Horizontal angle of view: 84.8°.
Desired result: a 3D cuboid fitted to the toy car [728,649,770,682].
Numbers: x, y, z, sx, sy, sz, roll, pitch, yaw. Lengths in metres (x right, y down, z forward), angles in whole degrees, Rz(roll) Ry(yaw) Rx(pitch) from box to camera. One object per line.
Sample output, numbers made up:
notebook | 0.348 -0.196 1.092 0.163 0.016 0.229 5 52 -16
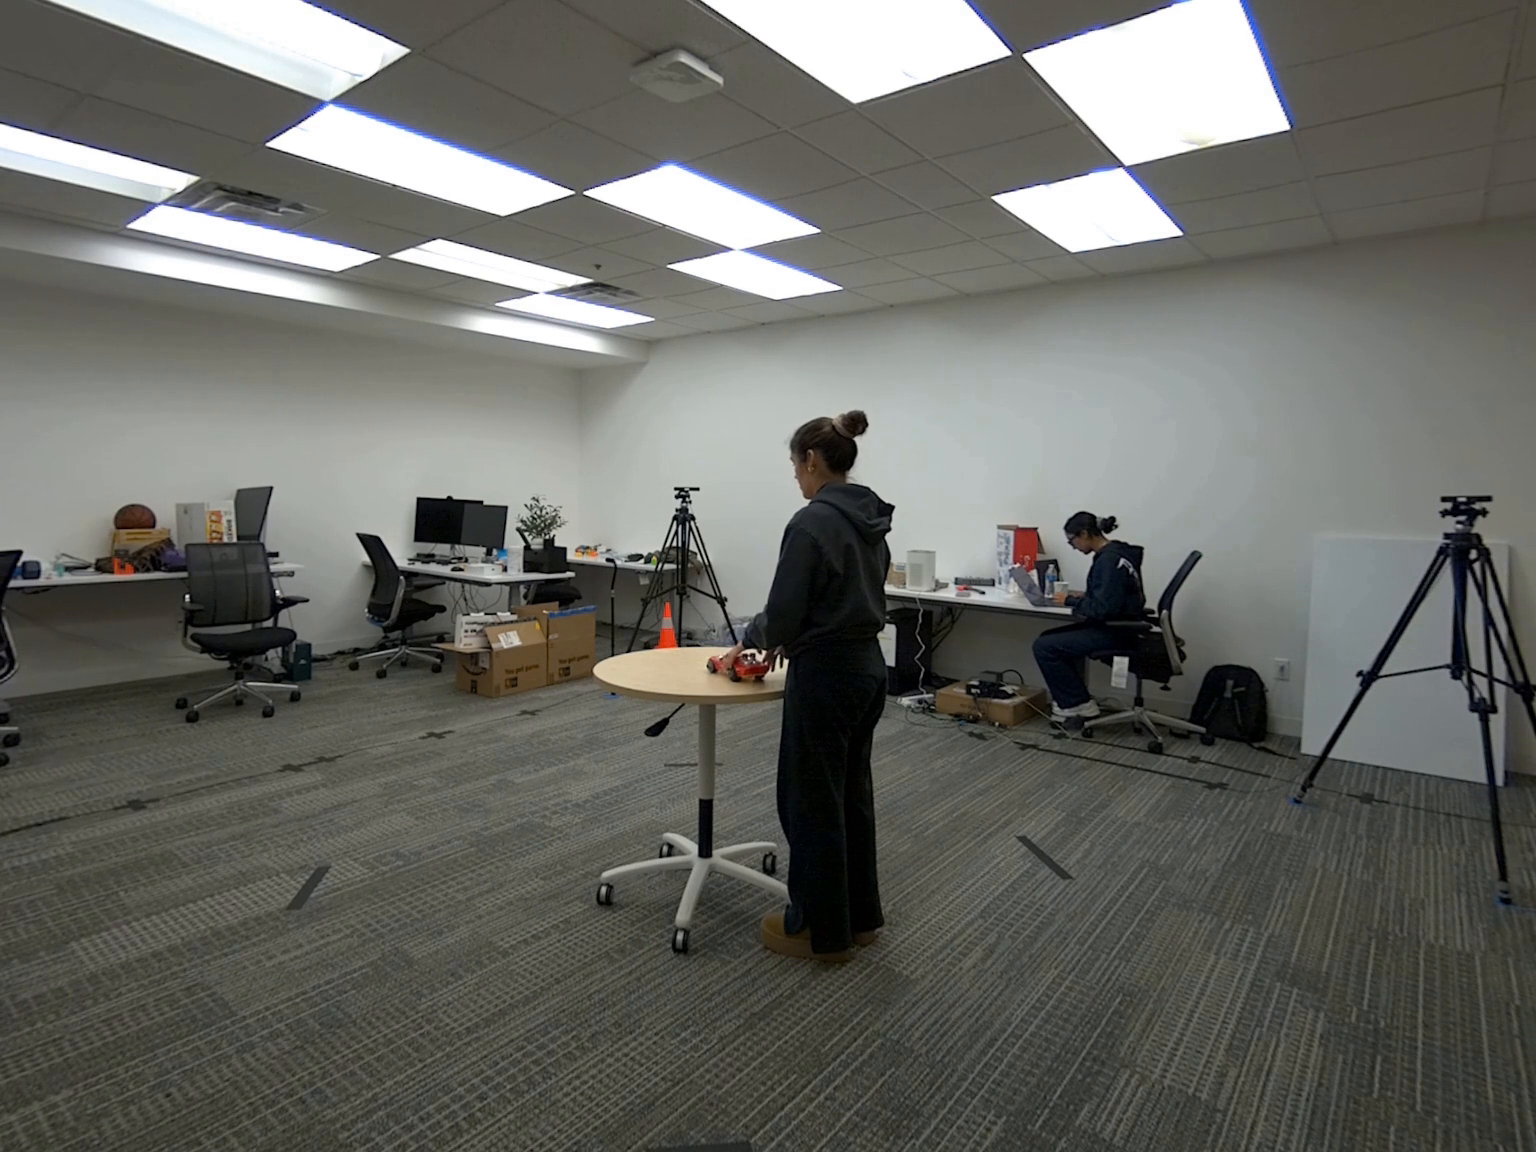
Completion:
toy car | -0.094 0.290 2.739 0.127 0.083 0.260 -3 -3 -30
